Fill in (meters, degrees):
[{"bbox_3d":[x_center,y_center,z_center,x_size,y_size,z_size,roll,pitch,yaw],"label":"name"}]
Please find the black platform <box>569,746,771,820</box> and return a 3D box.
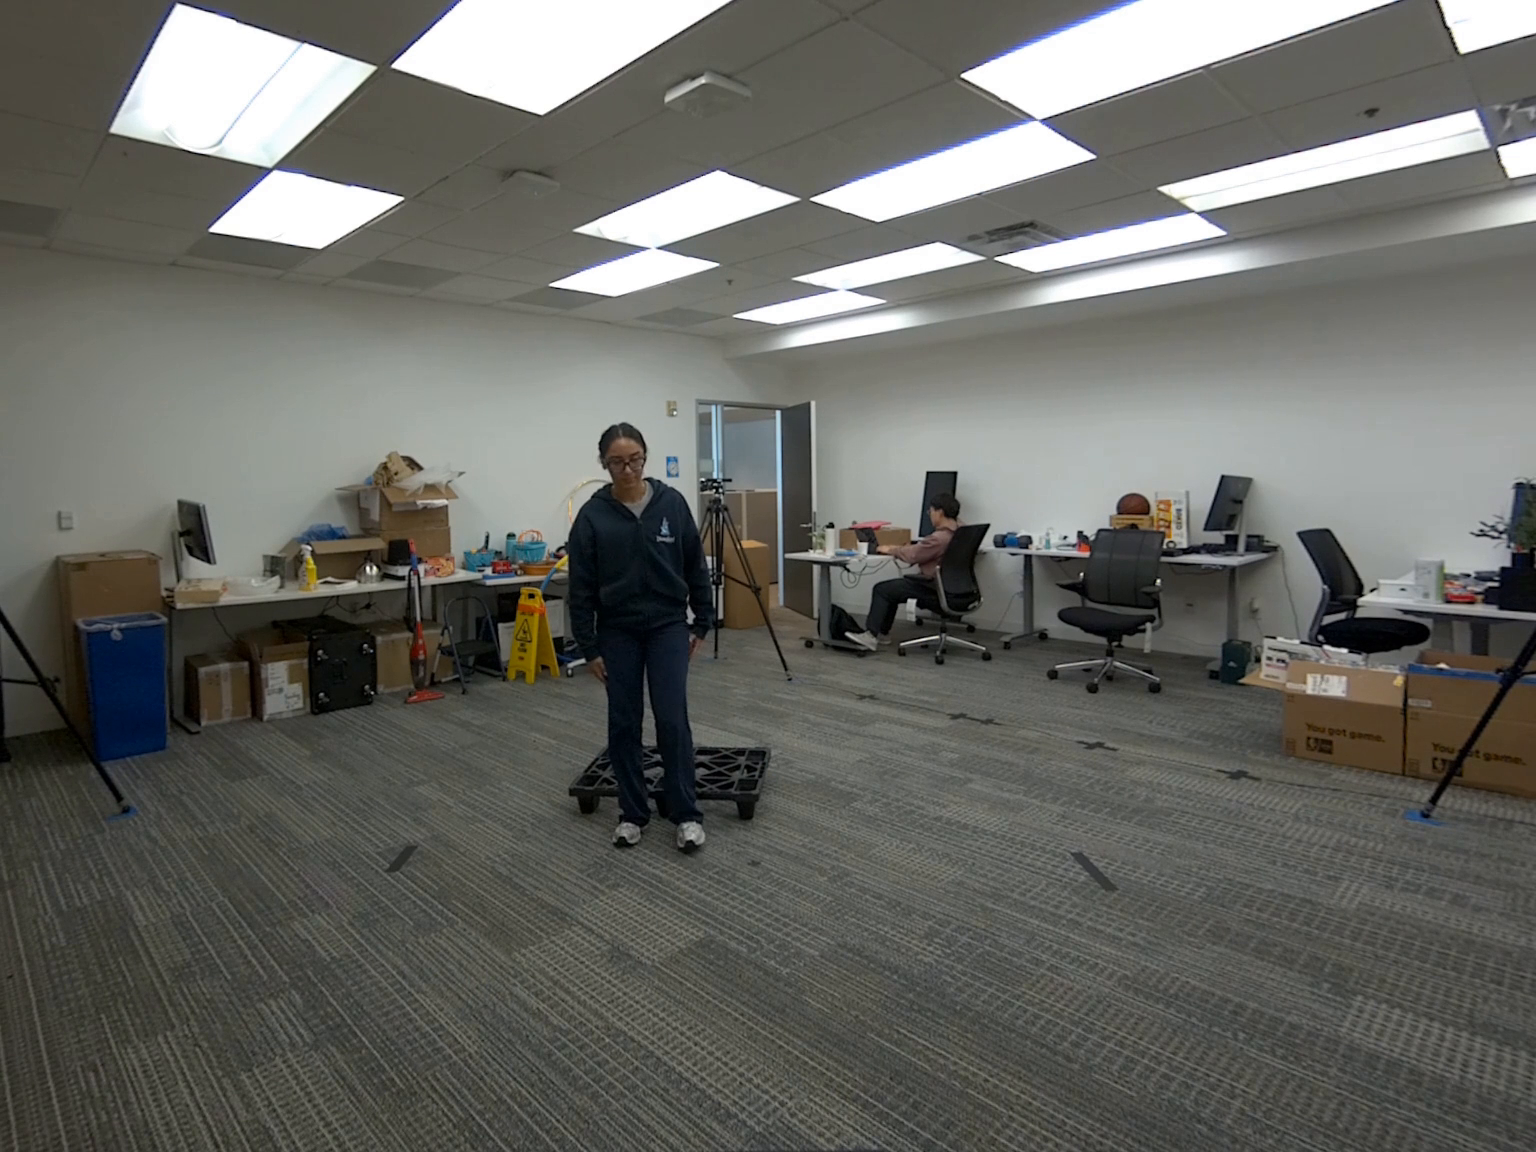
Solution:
[{"bbox_3d":[-0.406,0.908,3.788,0.812,0.143,0.603,0,5,7],"label":"black platform"}]
